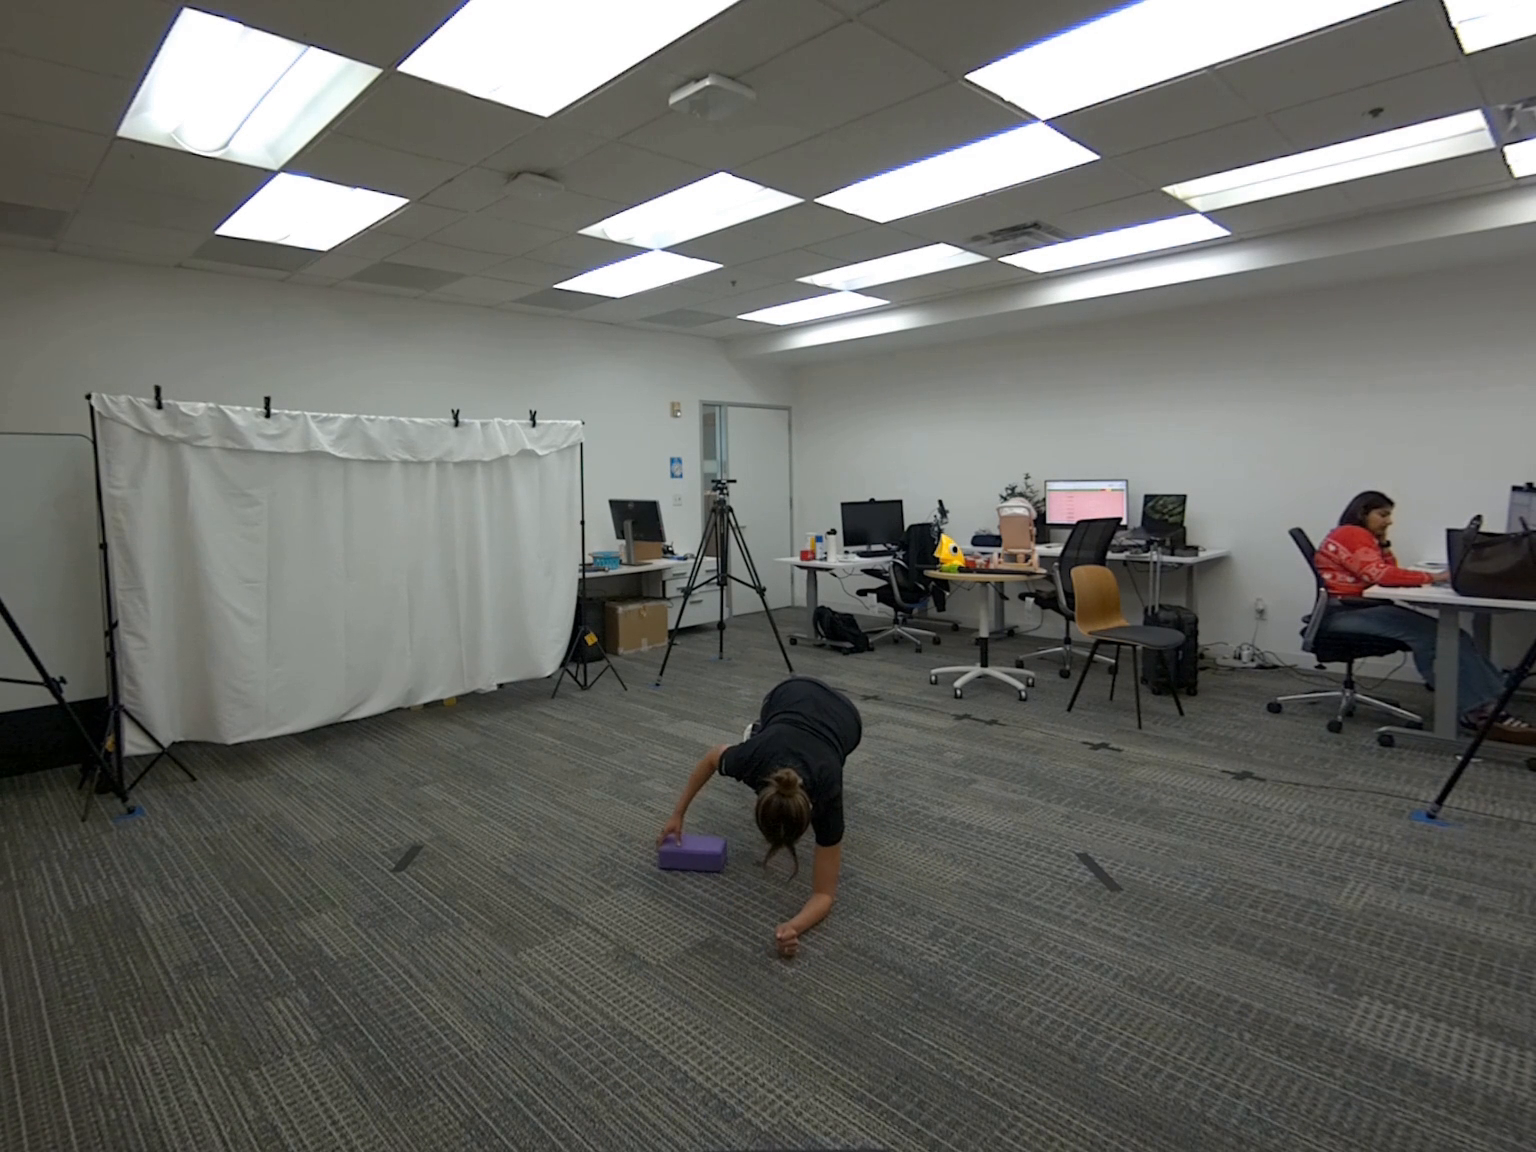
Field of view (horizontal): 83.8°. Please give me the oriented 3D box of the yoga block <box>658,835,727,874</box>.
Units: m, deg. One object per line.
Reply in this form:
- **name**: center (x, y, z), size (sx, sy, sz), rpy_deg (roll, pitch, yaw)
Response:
- **yoga block**: center (-0.264, 1.008, 3.119), size (0.231, 0.076, 0.148), rpy_deg (0, 5, 9)
